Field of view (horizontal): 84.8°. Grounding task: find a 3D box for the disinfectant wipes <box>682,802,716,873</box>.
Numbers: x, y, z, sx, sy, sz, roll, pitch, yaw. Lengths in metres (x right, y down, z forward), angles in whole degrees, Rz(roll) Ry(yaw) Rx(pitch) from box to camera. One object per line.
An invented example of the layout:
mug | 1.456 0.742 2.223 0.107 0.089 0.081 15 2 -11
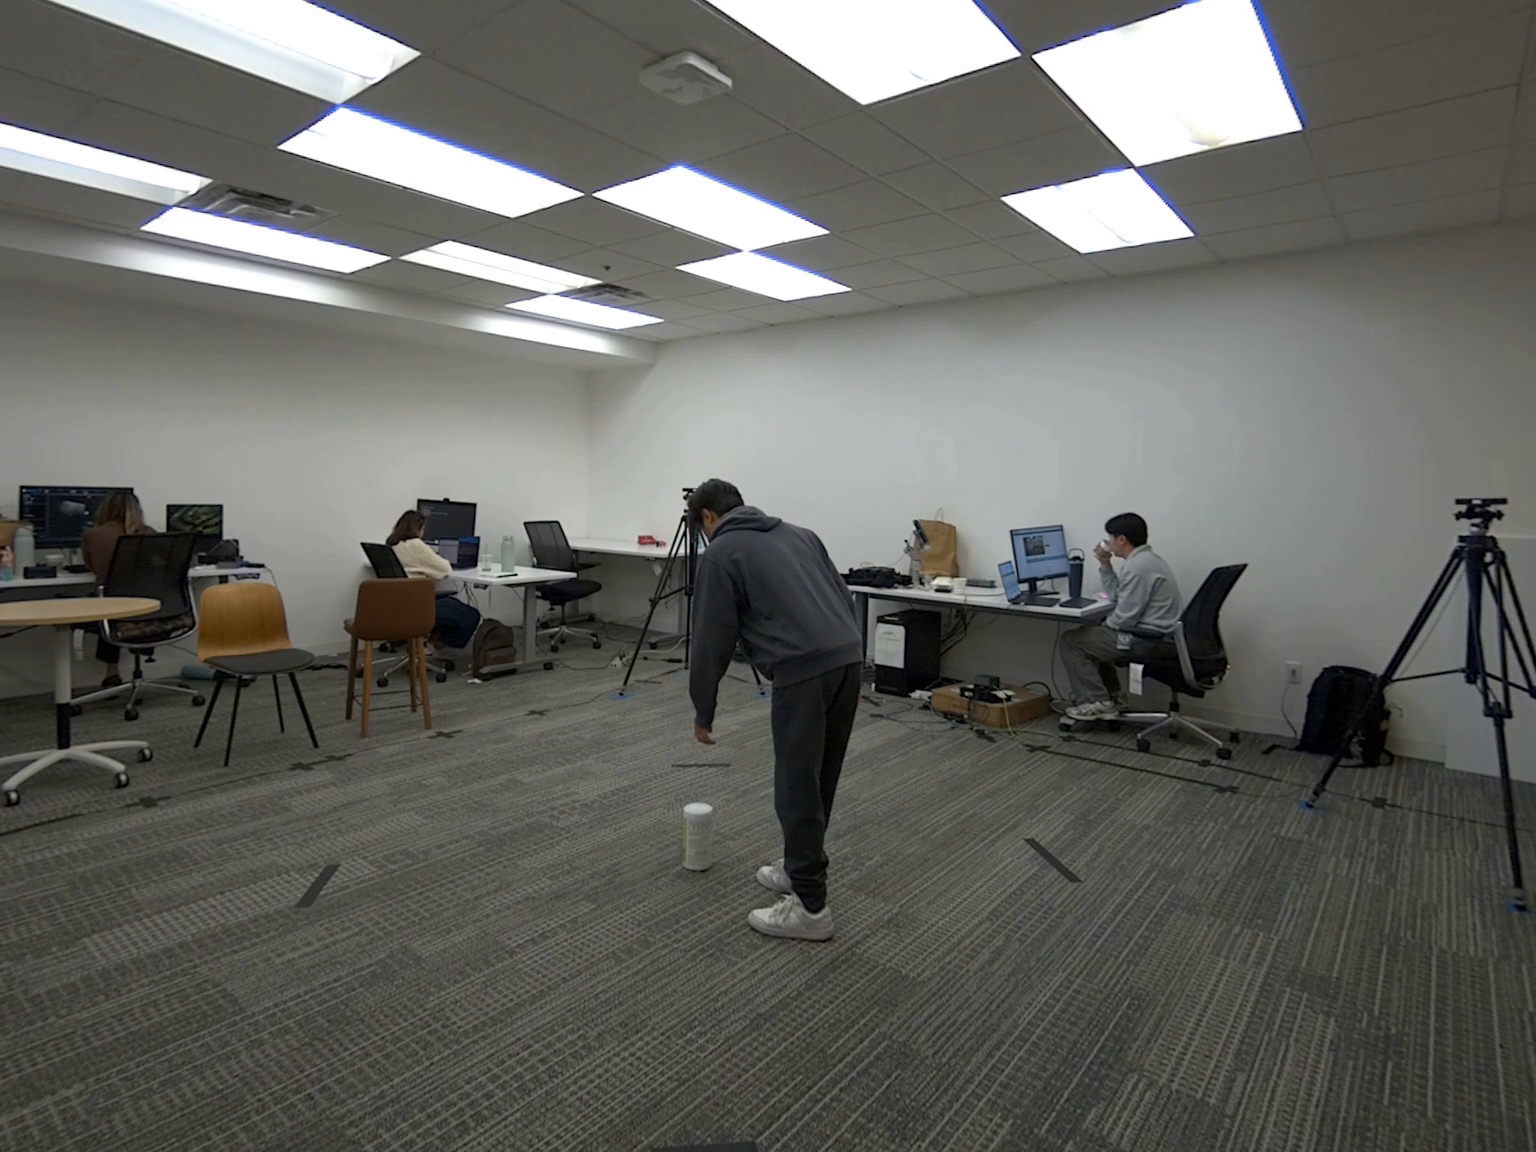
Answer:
disinfectant wipes | -0.265 0.958 3.137 0.118 0.217 0.118 1 2 -2
